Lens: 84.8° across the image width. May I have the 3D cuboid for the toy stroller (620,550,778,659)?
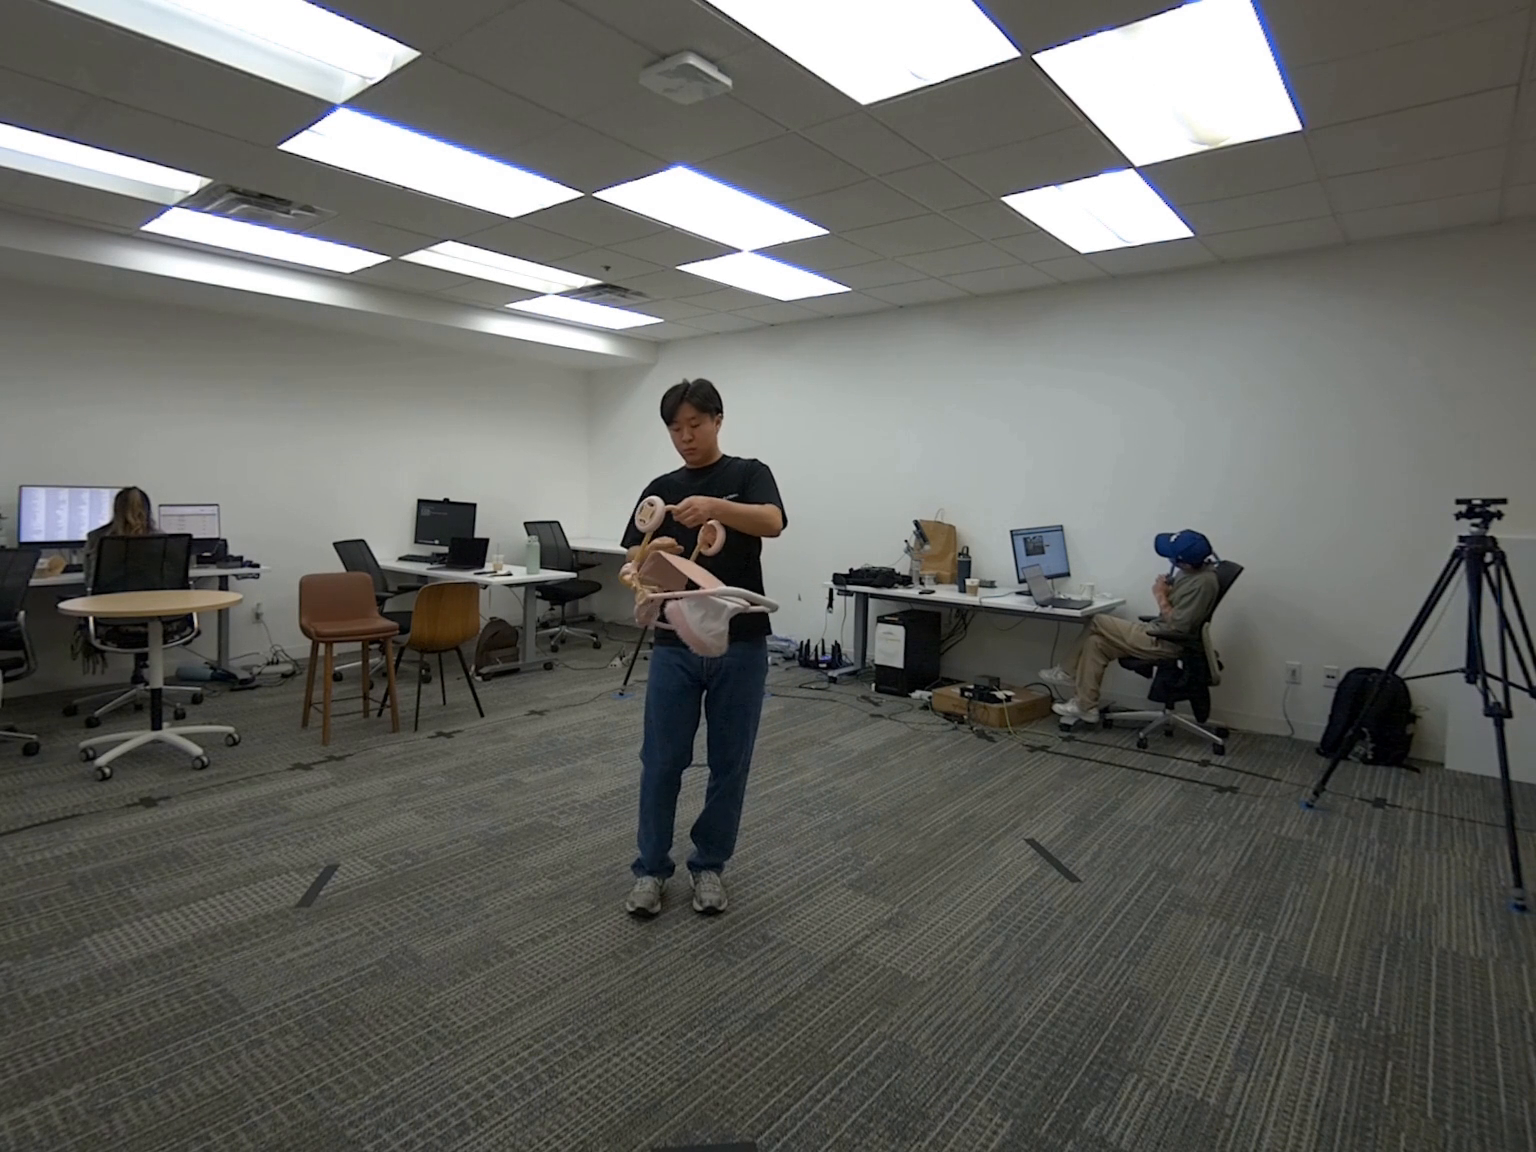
[{"bbox_3d":[-0.255,0.024,2.432,0.270,0.341,0.558,27,18,-46],"label":"toy stroller"}]
